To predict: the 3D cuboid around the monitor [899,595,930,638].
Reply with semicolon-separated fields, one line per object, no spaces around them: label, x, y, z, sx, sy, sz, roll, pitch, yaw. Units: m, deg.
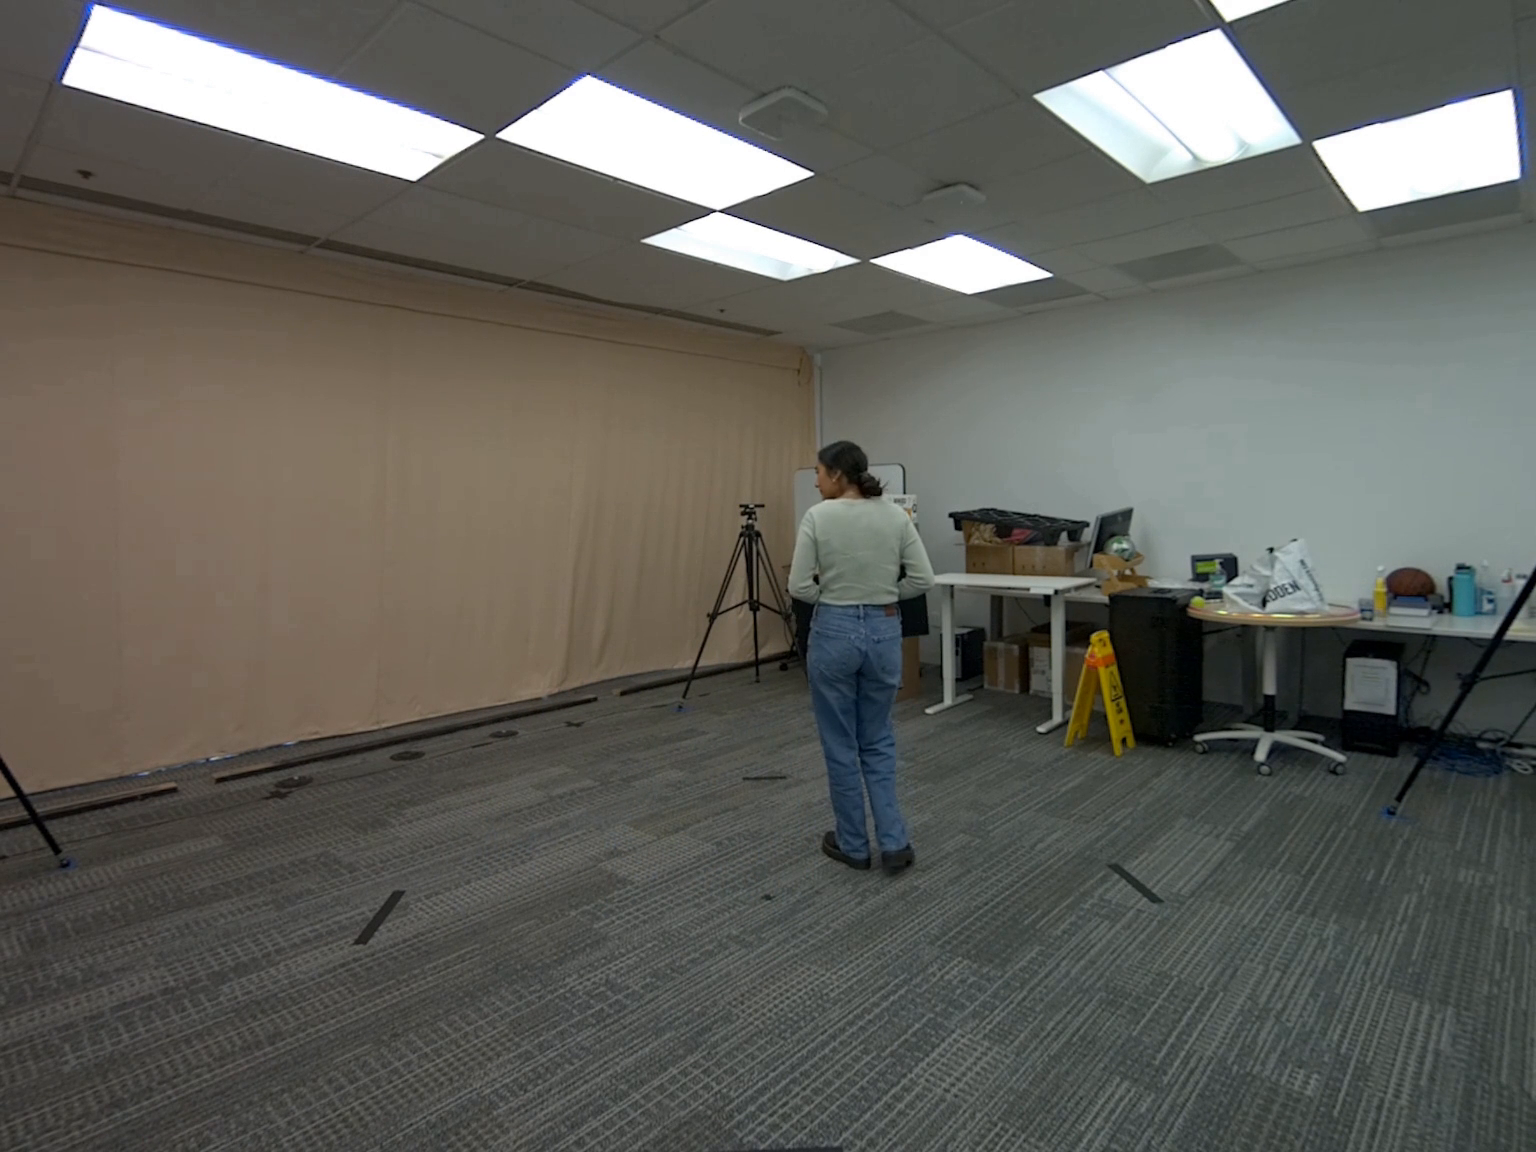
monitor;0.390;0.209;3.415;0.533;0.512;0.175;-8;10;5
